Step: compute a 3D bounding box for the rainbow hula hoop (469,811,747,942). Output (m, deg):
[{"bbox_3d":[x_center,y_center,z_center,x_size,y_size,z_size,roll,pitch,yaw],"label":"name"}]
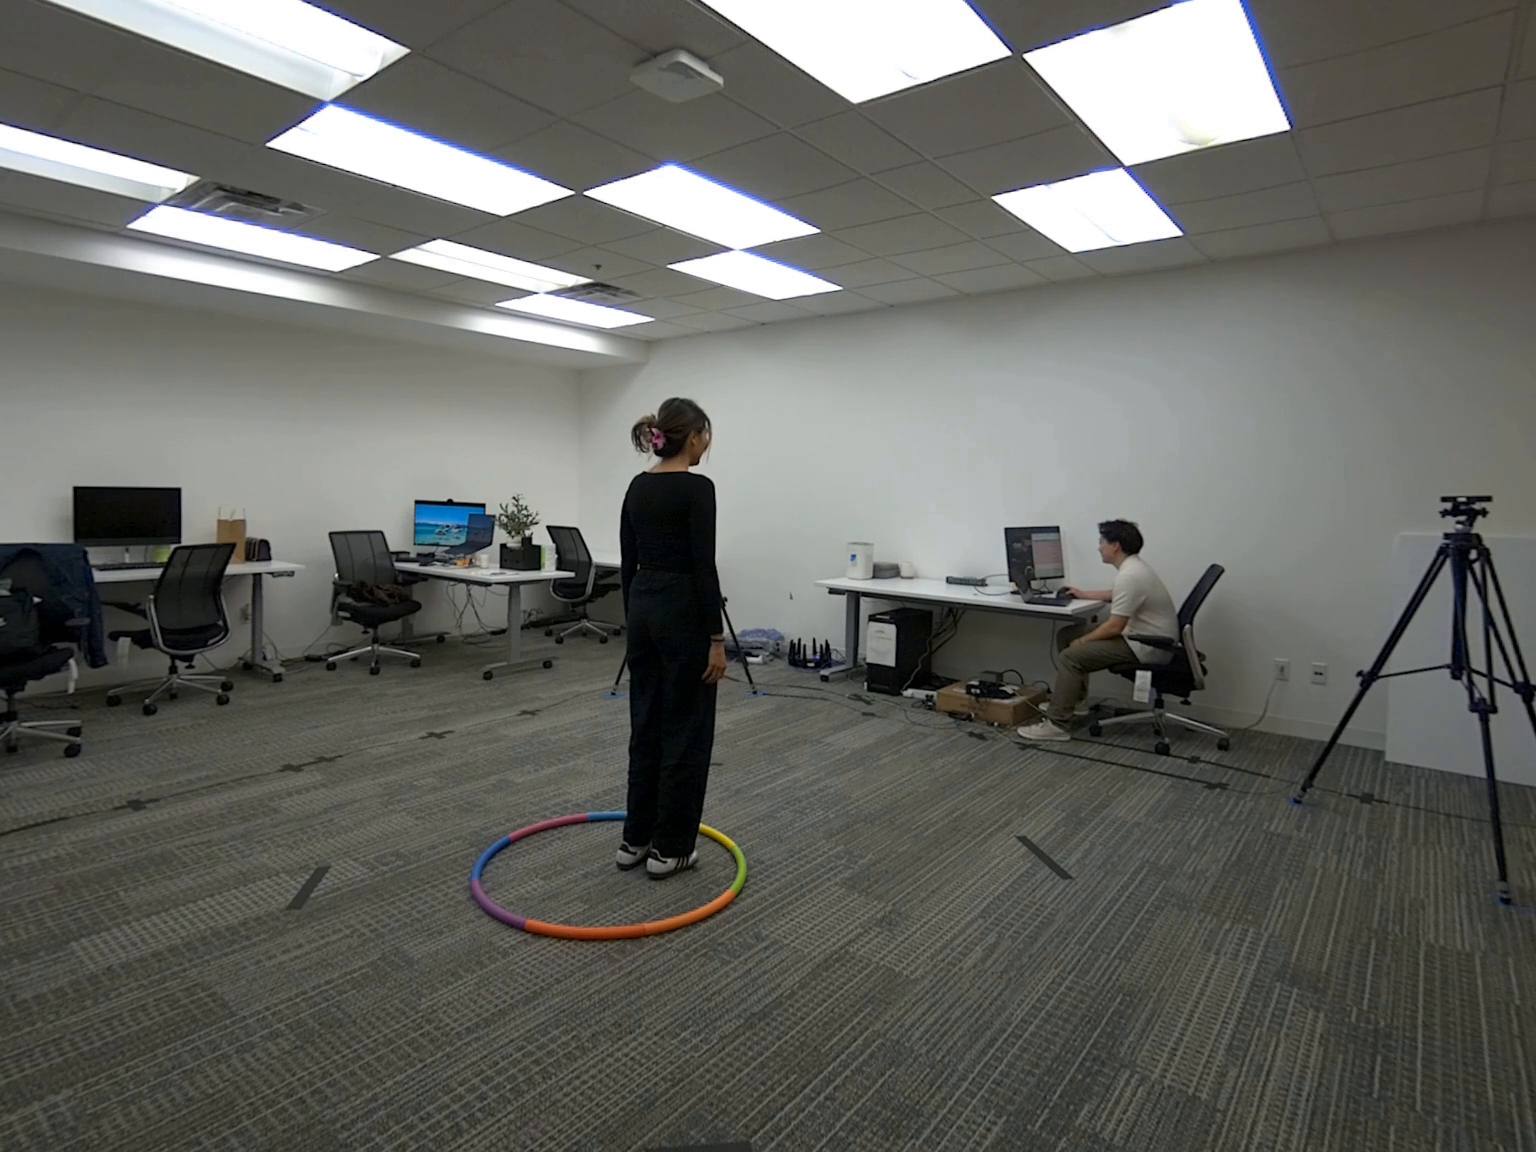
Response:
[{"bbox_3d":[-0.574,1.035,3.085,0.978,0.035,0.984,1,6,-2],"label":"rainbow hula hoop"}]
